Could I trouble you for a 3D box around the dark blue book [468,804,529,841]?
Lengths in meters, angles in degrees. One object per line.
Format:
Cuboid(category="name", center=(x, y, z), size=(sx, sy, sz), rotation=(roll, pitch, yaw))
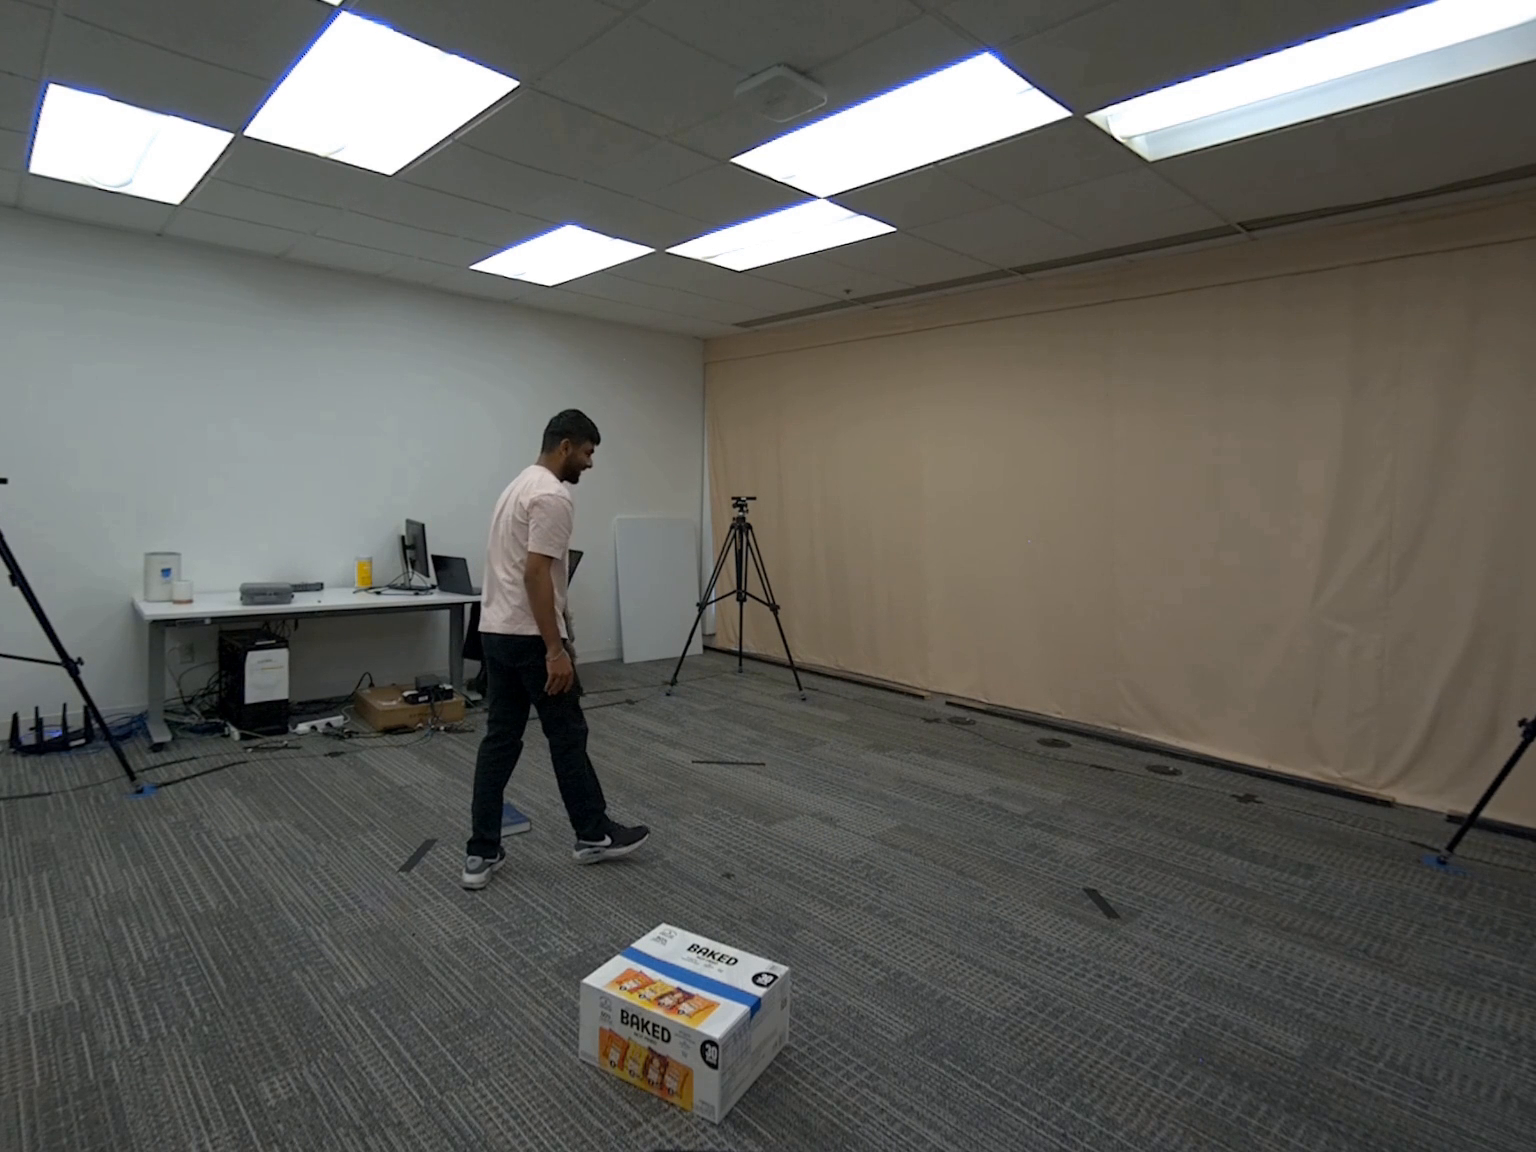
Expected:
Cuboid(category="dark blue book", center=(-1.125, 1.027, 3.524), size=(0.160, 0.045, 0.251), rotation=(-3, 7, -38))
